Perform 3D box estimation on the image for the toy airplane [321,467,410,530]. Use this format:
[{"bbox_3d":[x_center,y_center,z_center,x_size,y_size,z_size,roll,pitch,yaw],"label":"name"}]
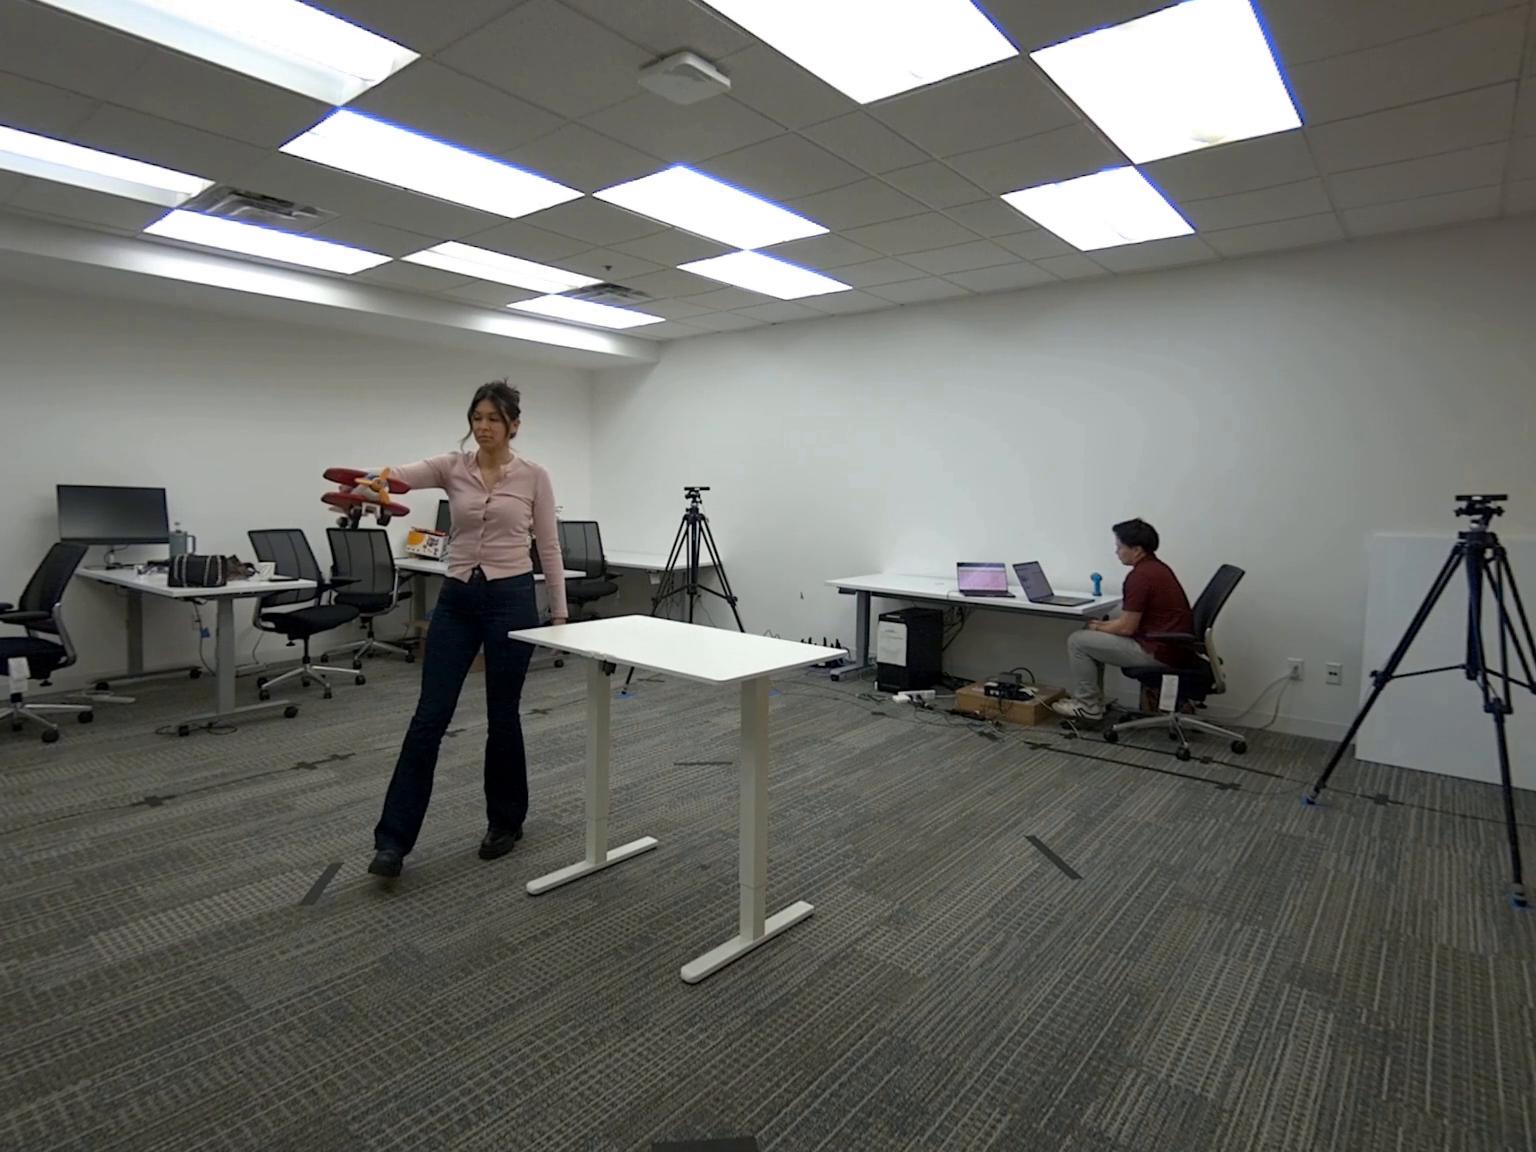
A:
[{"bbox_3d":[-1.267,-0.237,2.592,0.265,0.158,0.243,1,-10,21],"label":"toy airplane"}]
